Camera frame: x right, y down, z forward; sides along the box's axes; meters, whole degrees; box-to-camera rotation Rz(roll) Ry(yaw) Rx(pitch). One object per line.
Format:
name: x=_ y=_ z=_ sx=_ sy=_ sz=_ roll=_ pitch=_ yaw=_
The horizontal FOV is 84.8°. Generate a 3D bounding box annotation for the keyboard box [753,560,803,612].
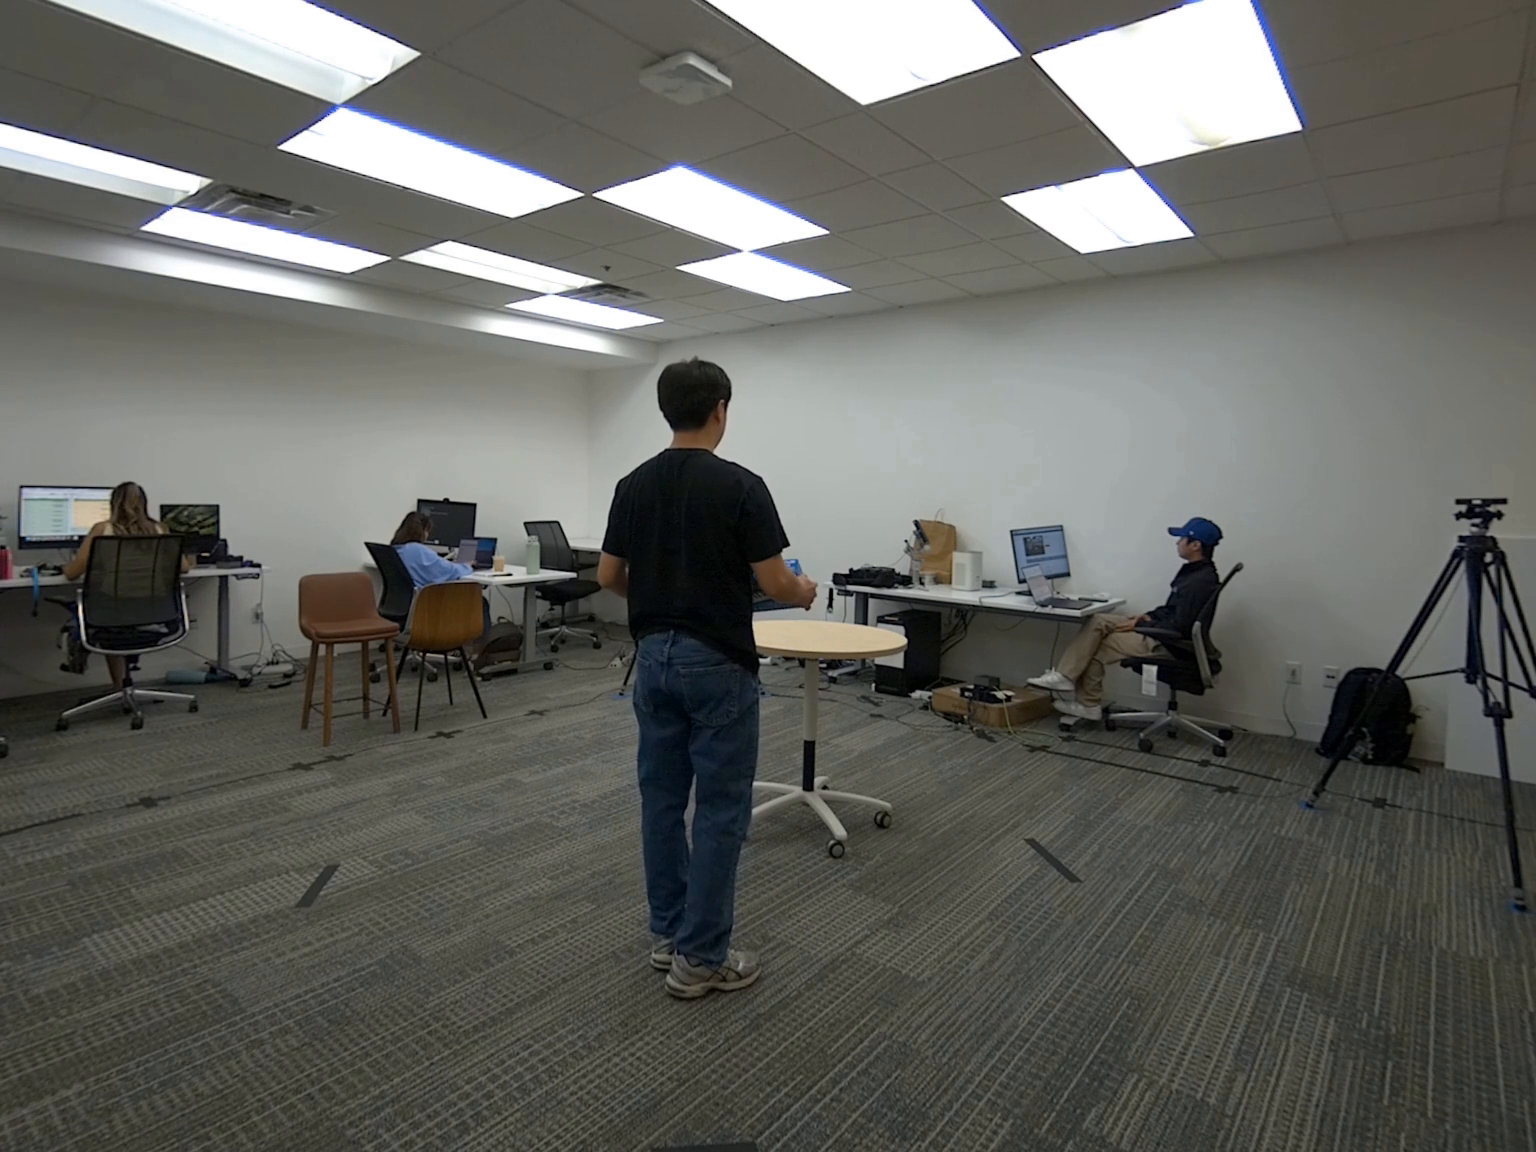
keyboard box: x=-0.102 y=0.046 z=2.778 sx=0.445 sy=0.169 sz=0.060 roll=-6 pitch=45 yaw=20
